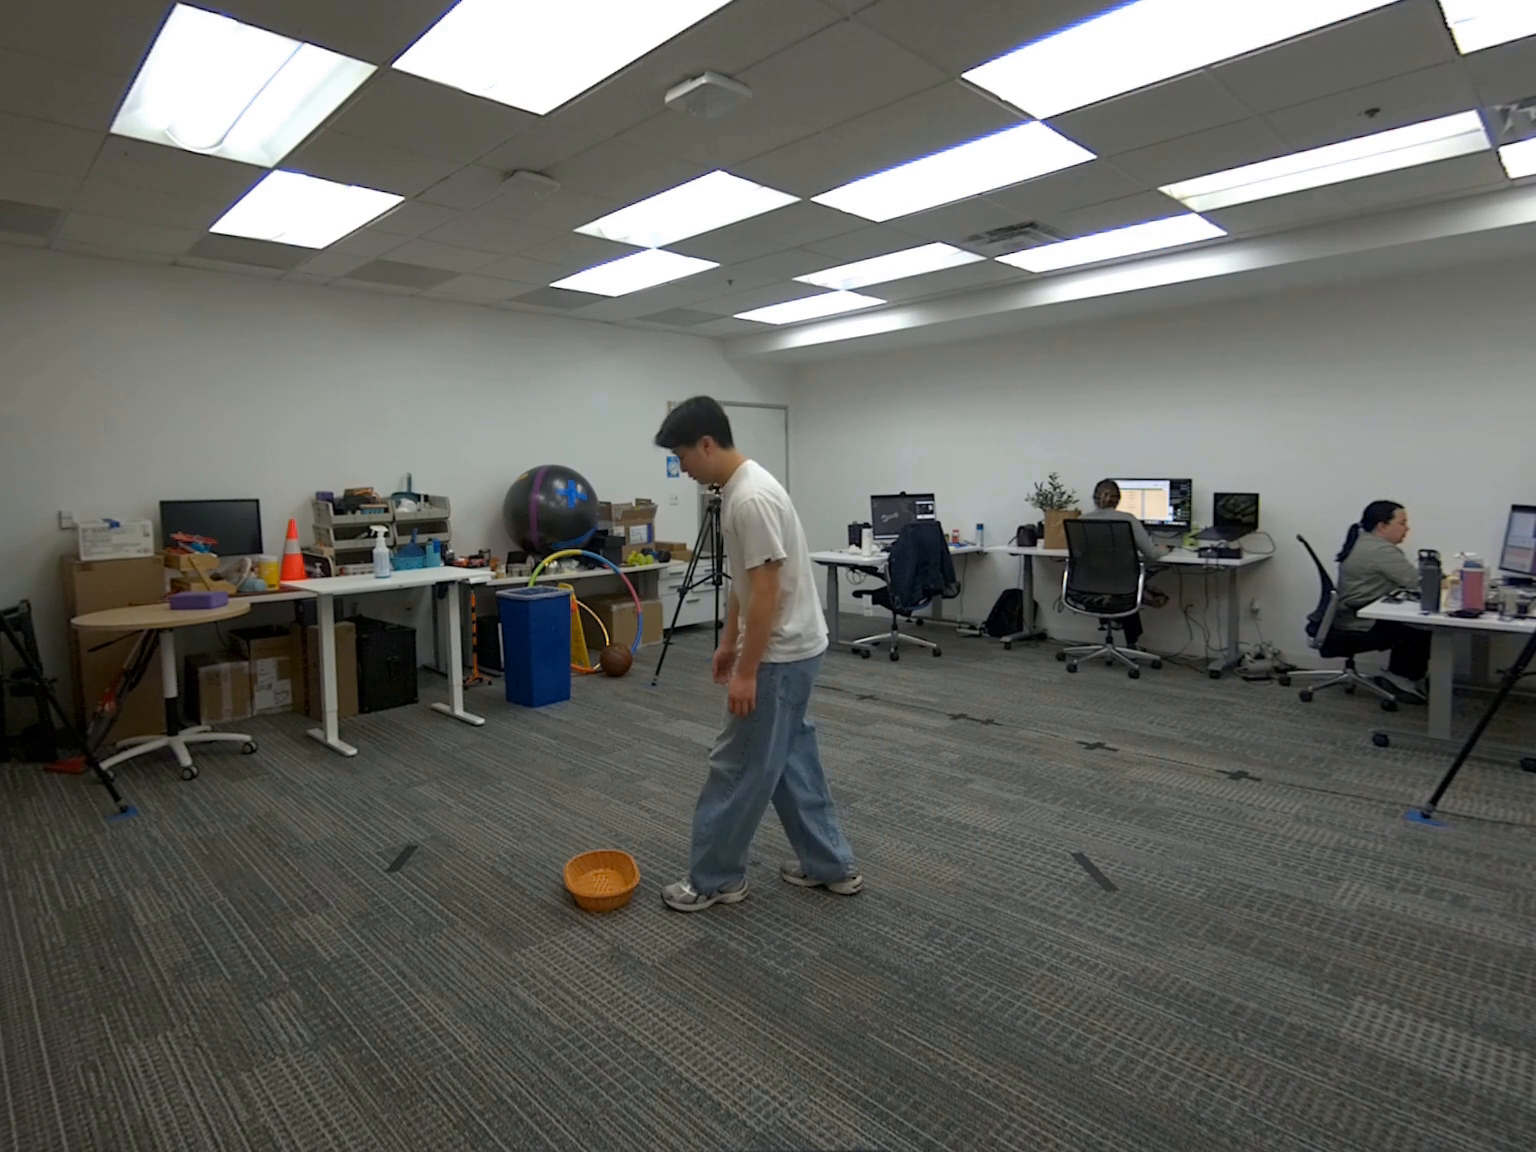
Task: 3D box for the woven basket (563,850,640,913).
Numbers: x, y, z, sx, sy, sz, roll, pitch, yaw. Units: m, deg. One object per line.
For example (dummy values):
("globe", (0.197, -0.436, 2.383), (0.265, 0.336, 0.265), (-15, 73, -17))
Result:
("woven basket", (-0.564, 1.035, 2.913), (0.248, 0.073, 0.357), (-3, 7, -17))
